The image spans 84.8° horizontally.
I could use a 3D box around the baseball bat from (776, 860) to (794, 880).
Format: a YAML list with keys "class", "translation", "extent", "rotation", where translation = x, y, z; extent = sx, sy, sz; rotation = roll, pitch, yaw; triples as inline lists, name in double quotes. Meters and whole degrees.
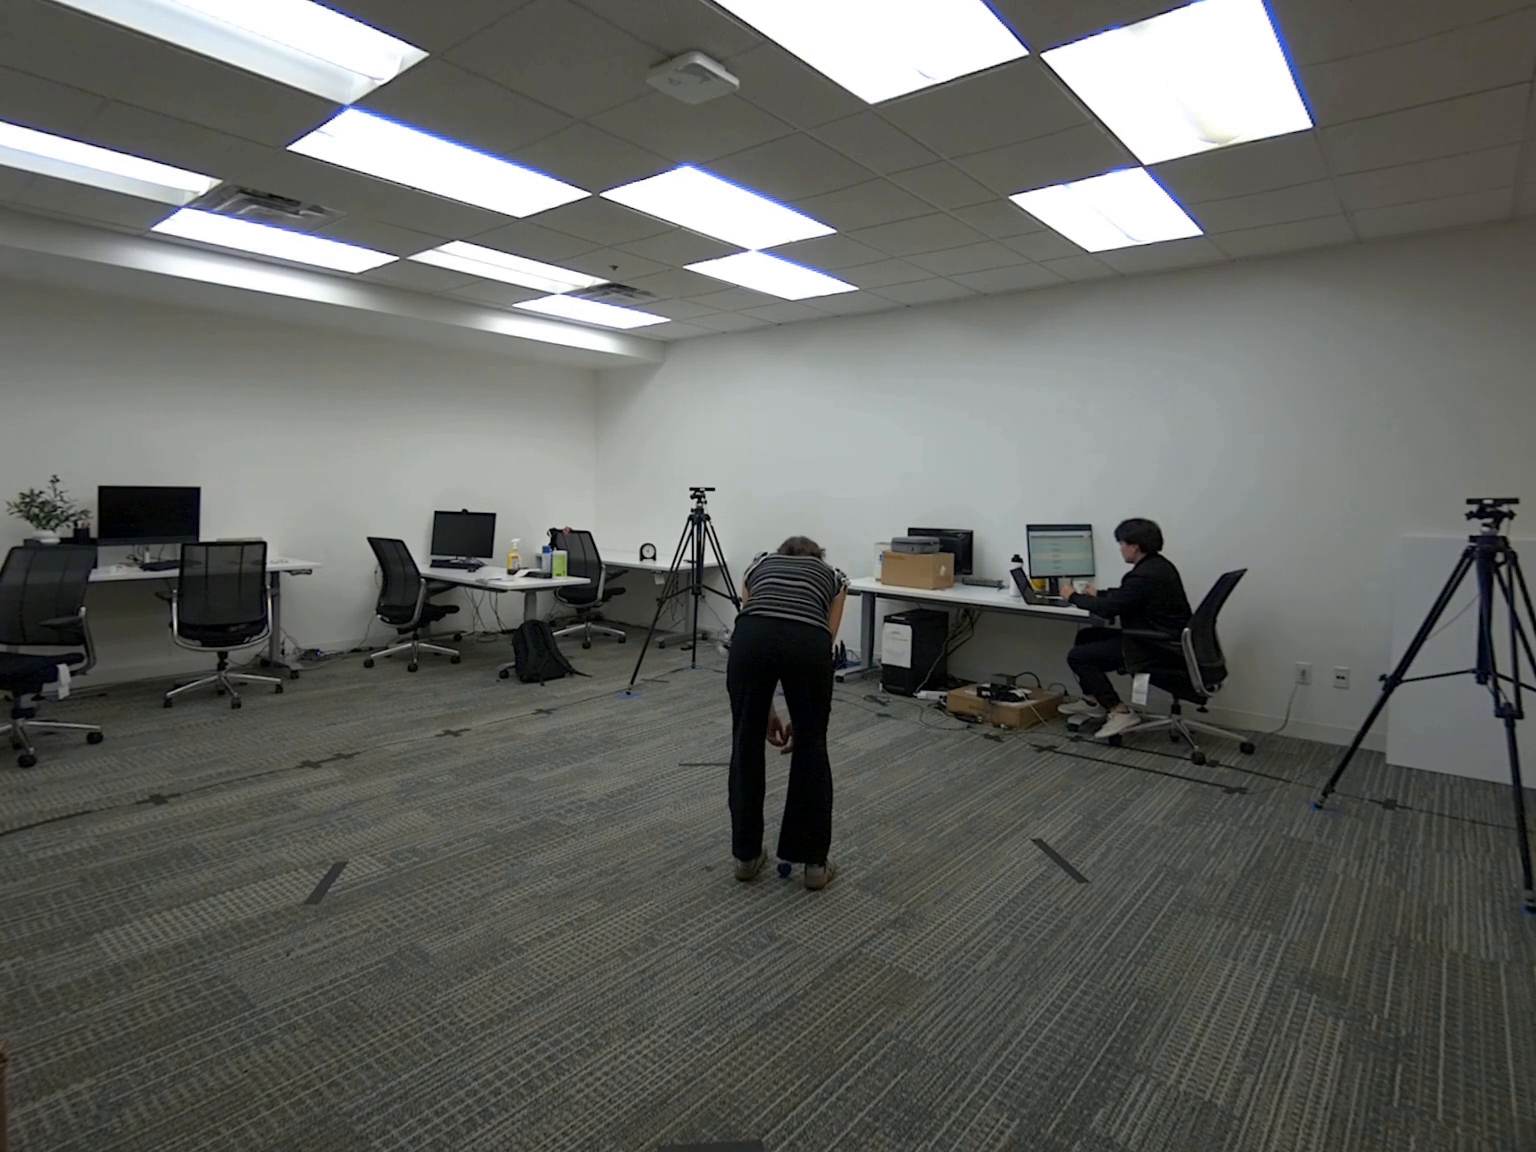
- class: "baseball bat"
  translation: [0.090, 1.012, 3.315]
  extent: [0.090, 0.088, 0.542]
  rotation: [1, 9, 7]
